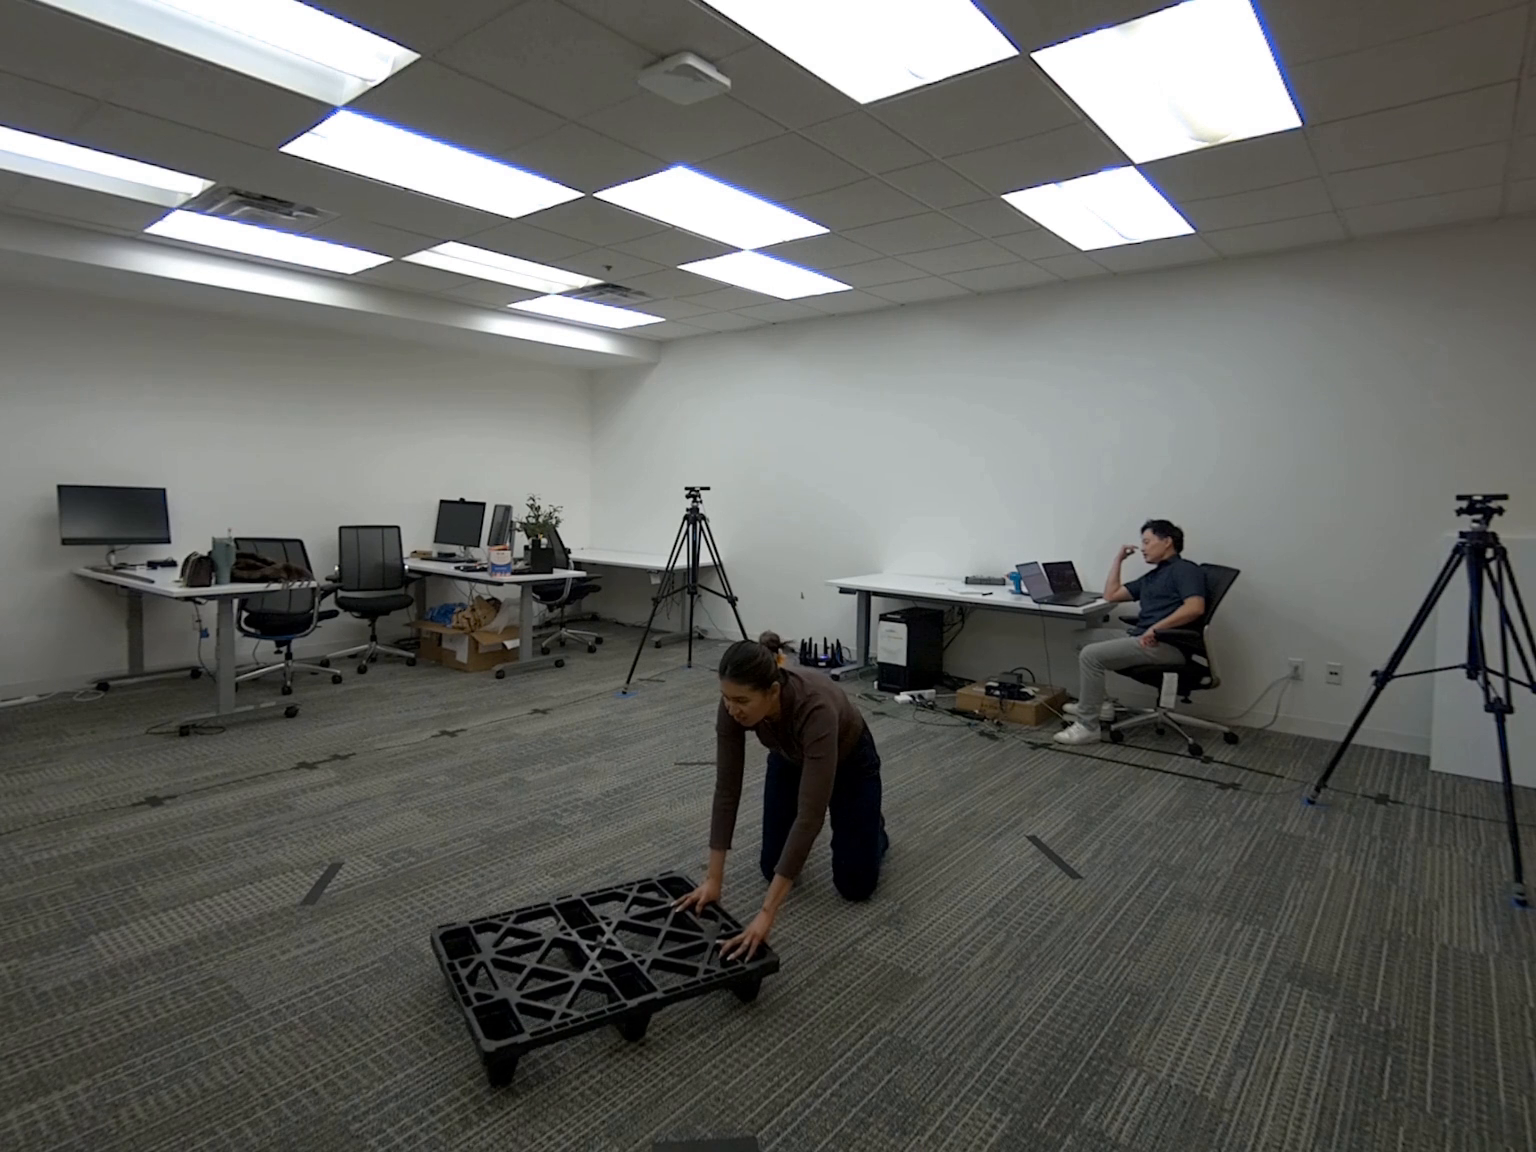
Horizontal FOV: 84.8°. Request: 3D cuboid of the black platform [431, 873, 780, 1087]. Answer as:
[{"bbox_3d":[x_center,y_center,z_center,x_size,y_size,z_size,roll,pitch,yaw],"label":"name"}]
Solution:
[{"bbox_3d":[-0.462,1.070,2.343,0.784,0.142,0.624,-3,8,-31],"label":"black platform"}]
